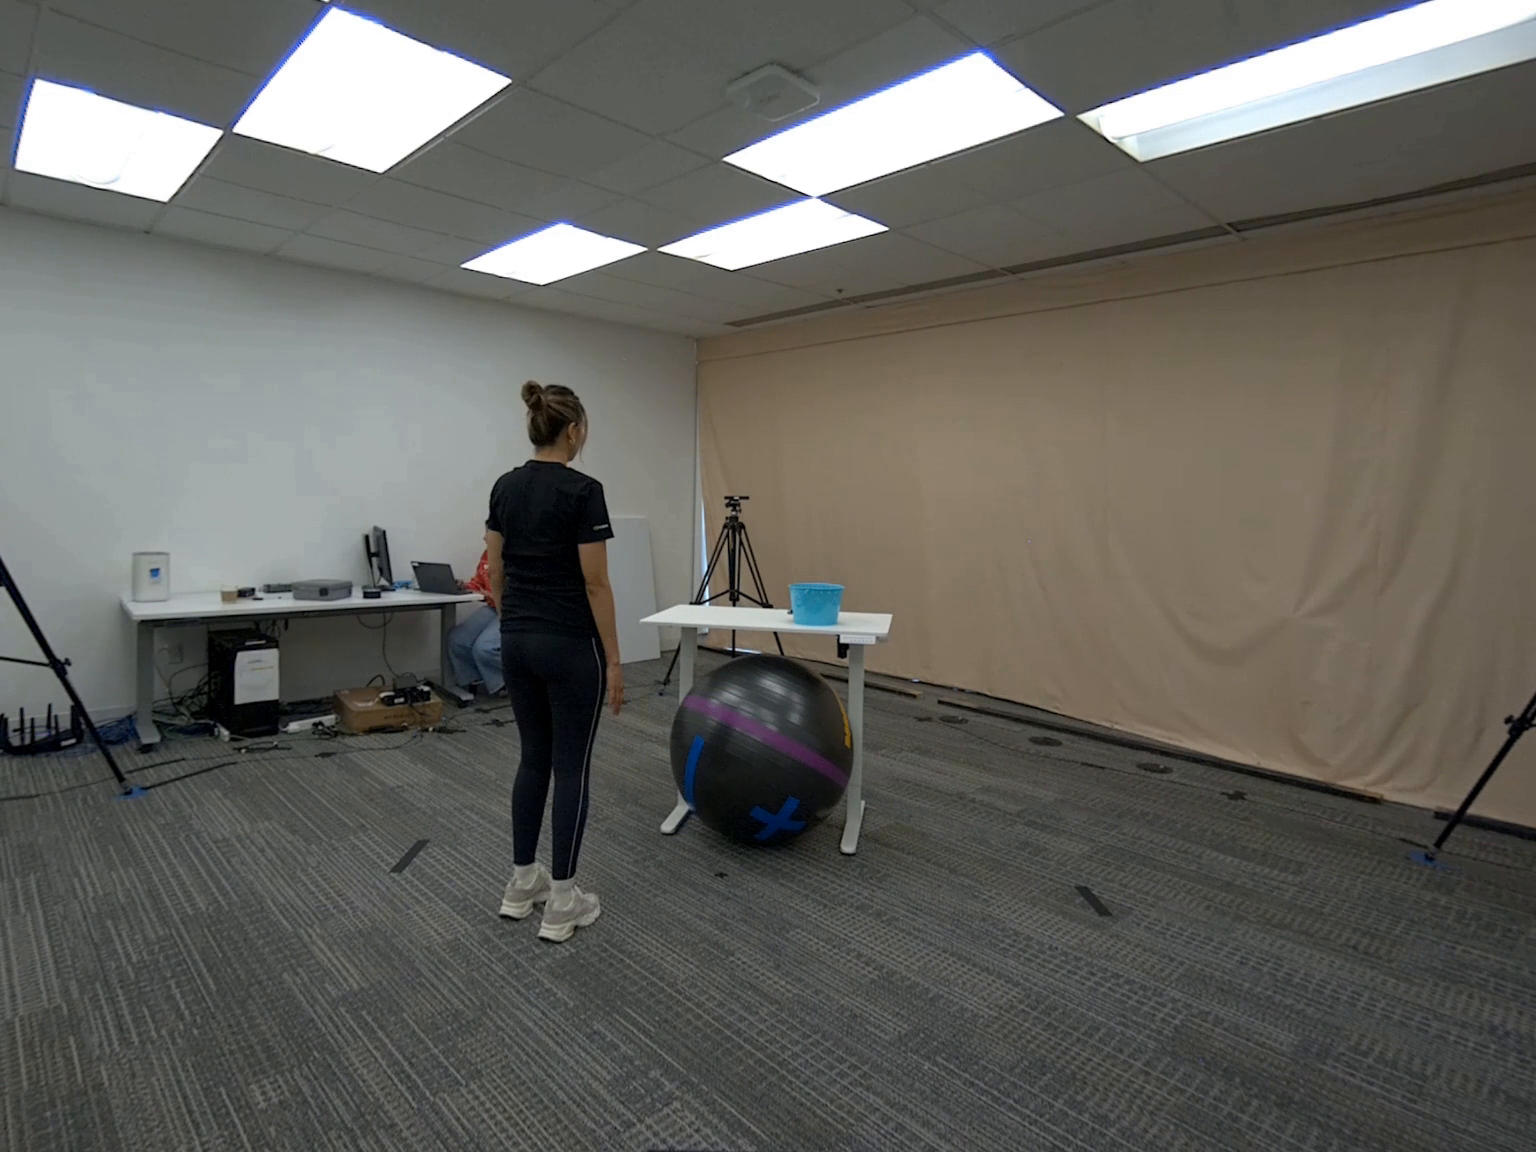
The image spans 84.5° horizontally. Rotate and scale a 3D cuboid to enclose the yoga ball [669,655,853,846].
[{"bbox_3d":[-0.028,0.723,3.476,0.757,0.756,0.761,1,4,-1],"label":"yoga ball"}]
